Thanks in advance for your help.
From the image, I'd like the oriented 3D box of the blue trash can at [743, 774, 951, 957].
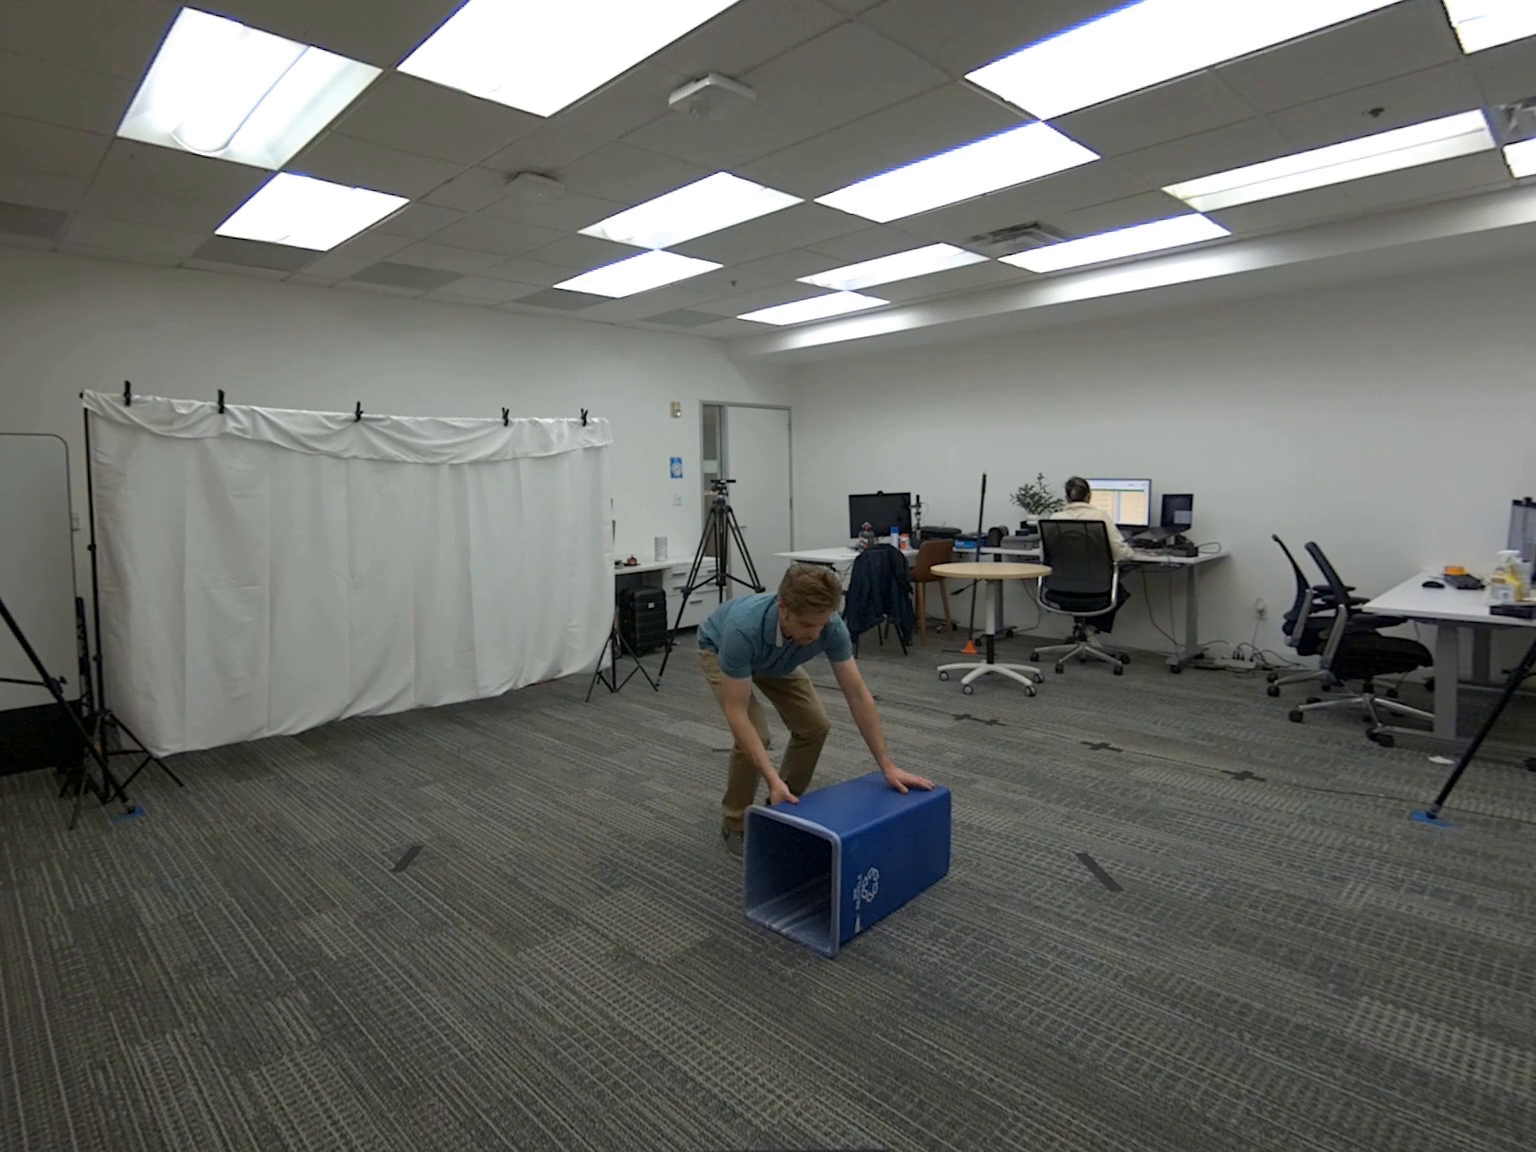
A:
[{"bbox_3d":[0.293,0.911,2.848,0.385,0.377,0.693,3,4,42],"label":"blue trash can"}]
